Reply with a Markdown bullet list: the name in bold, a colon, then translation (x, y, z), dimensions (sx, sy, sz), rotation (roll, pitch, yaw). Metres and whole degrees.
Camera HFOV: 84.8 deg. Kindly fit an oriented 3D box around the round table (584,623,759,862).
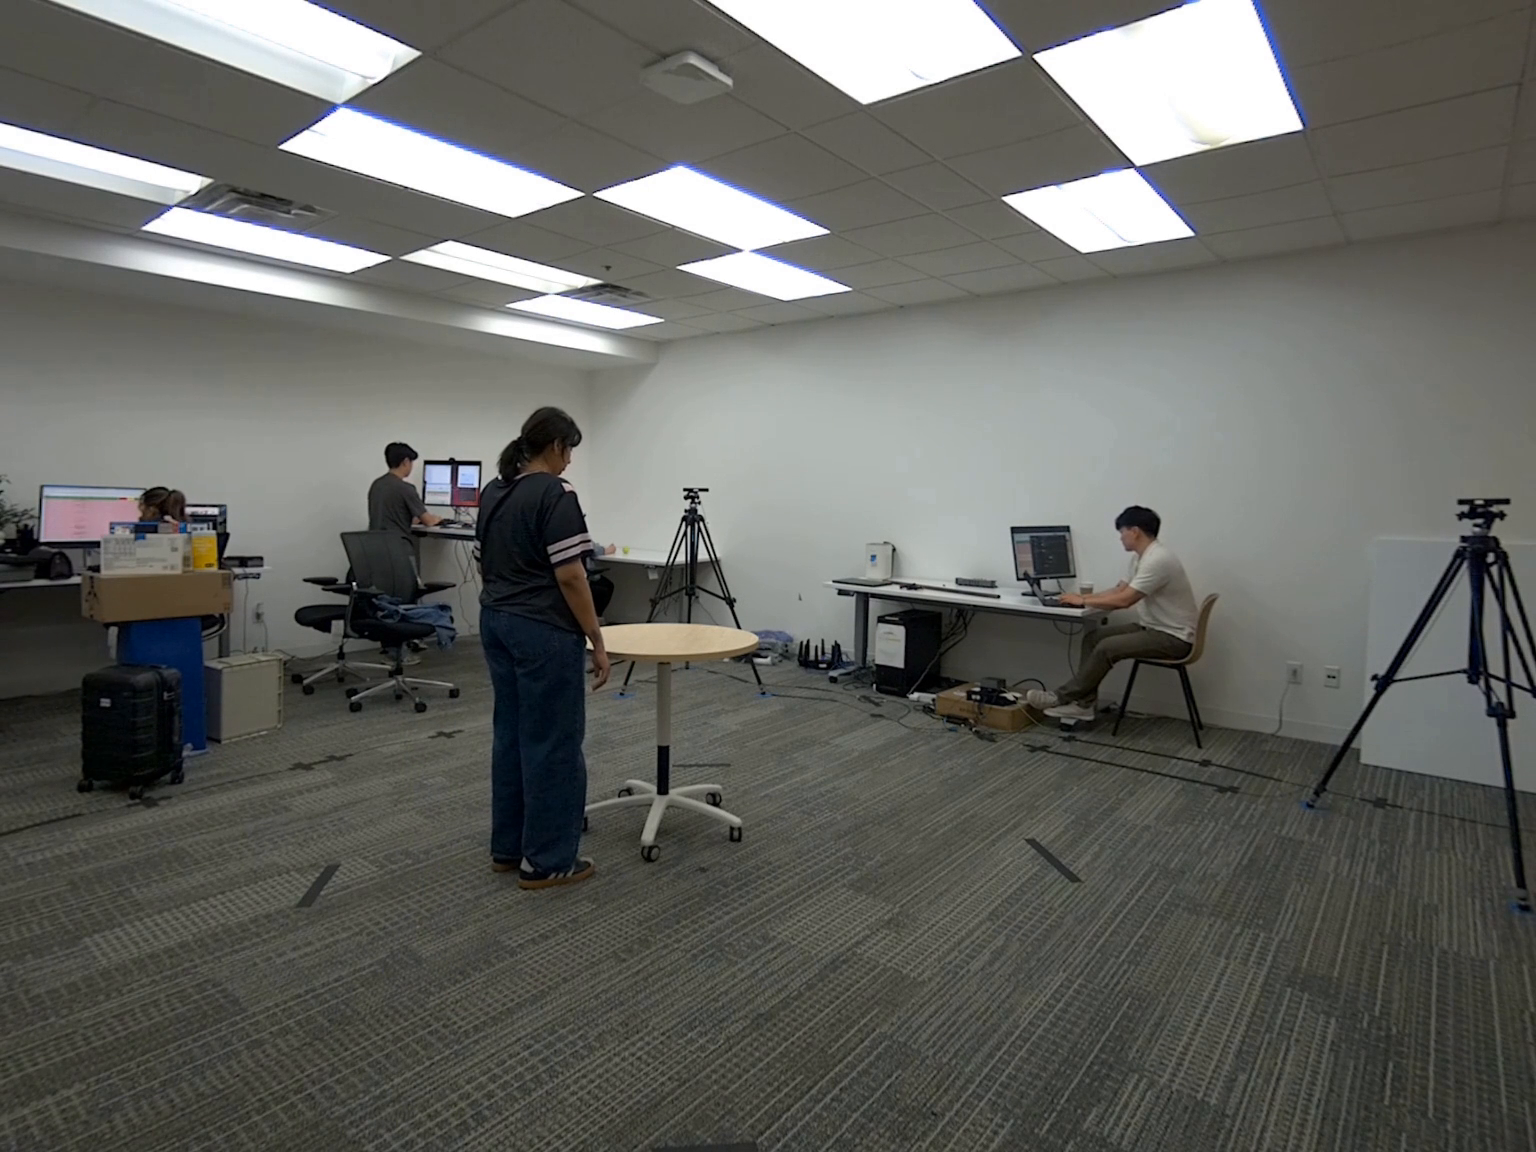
- **round table**: translation (-0.450, 0.637, 3.478), dimensions (0.784, 0.784, 0.788), rotation (1, 4, -2)
